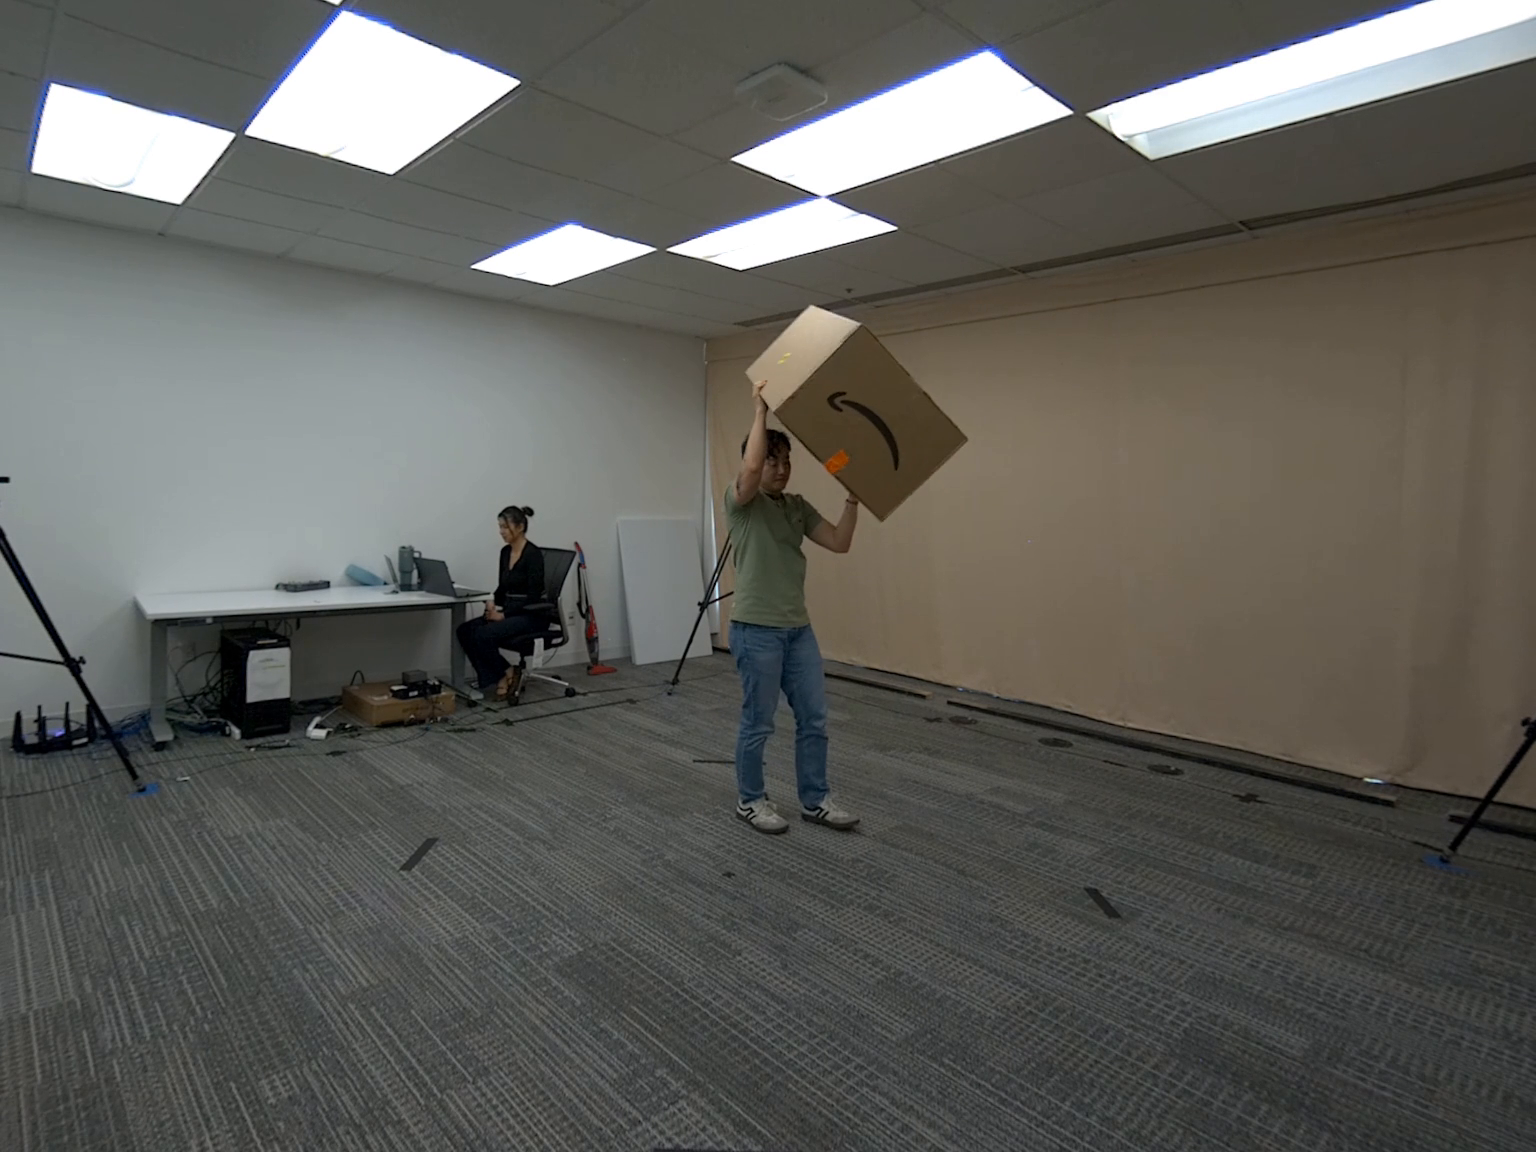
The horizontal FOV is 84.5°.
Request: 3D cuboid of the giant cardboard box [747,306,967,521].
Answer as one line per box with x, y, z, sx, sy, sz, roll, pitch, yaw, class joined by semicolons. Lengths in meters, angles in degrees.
0.292;-0.690;3.408;0.567;0.426;1.044;43;11;-19;giant cardboard box
